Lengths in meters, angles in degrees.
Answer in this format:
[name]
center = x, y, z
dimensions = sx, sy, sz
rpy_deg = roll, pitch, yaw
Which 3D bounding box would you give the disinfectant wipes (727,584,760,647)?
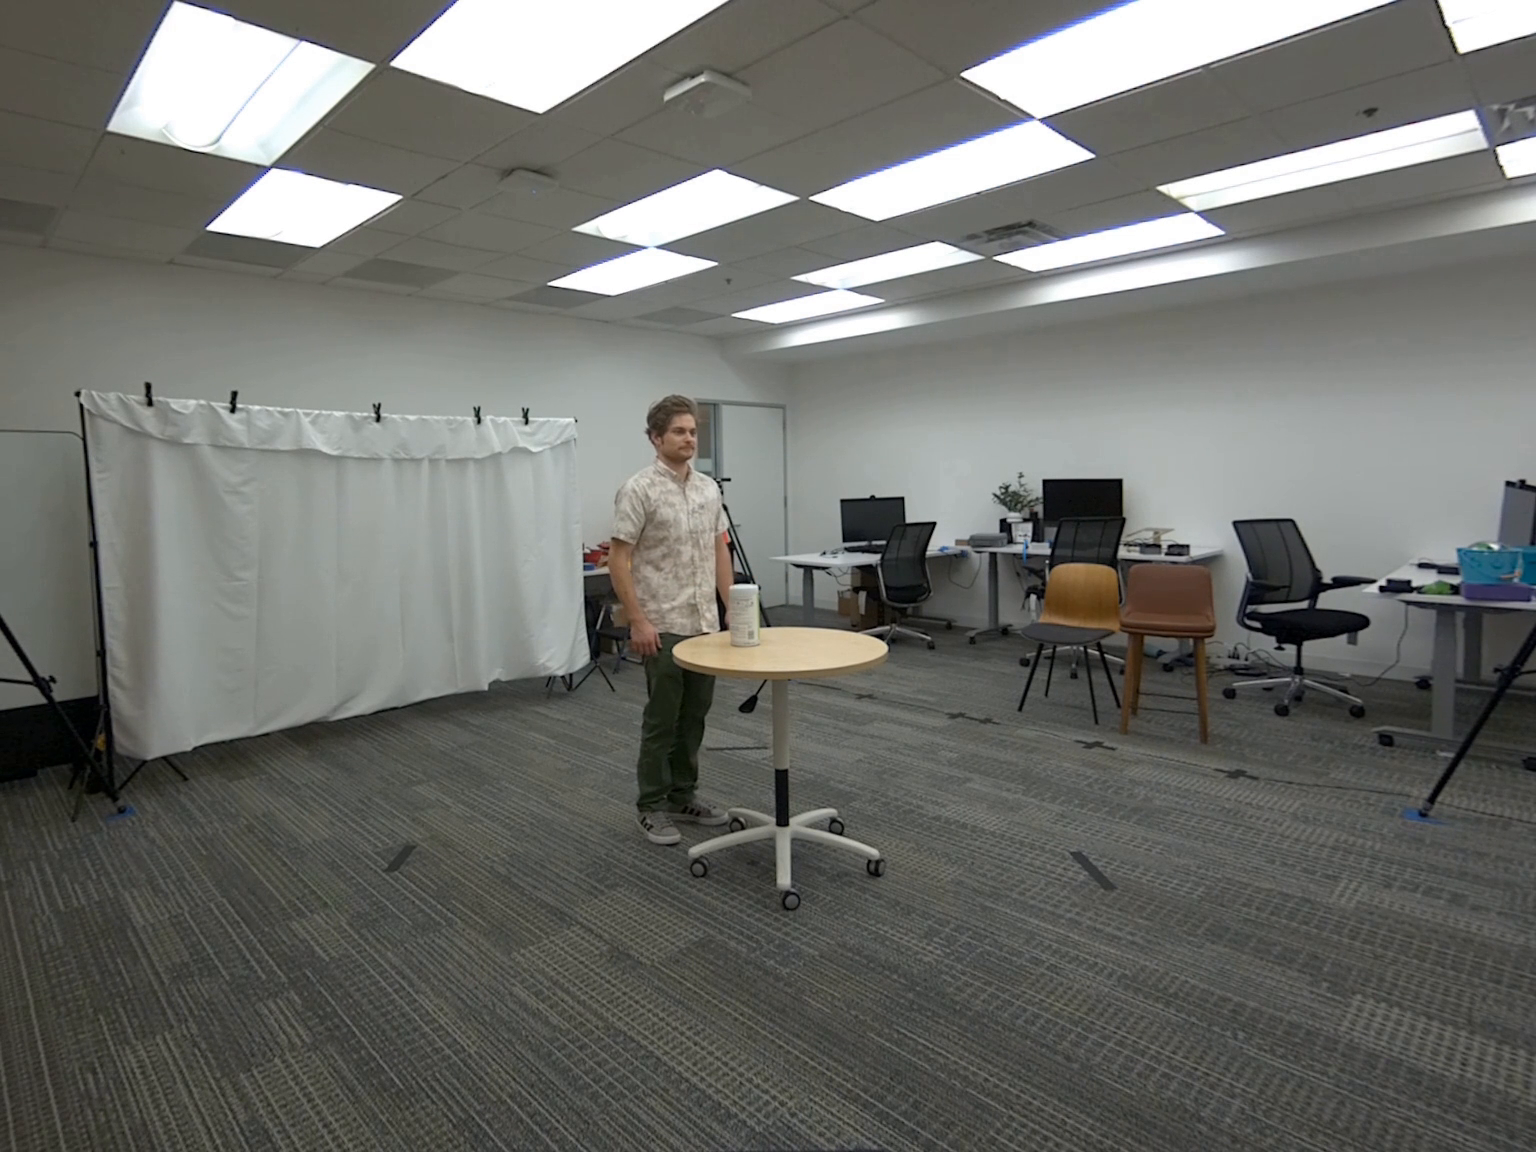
[disinfectant wipes]
center = -0.078, 0.144, 3.109
dimensions = 0.118, 0.217, 0.118
rpy_deg = -1, 2, -2
